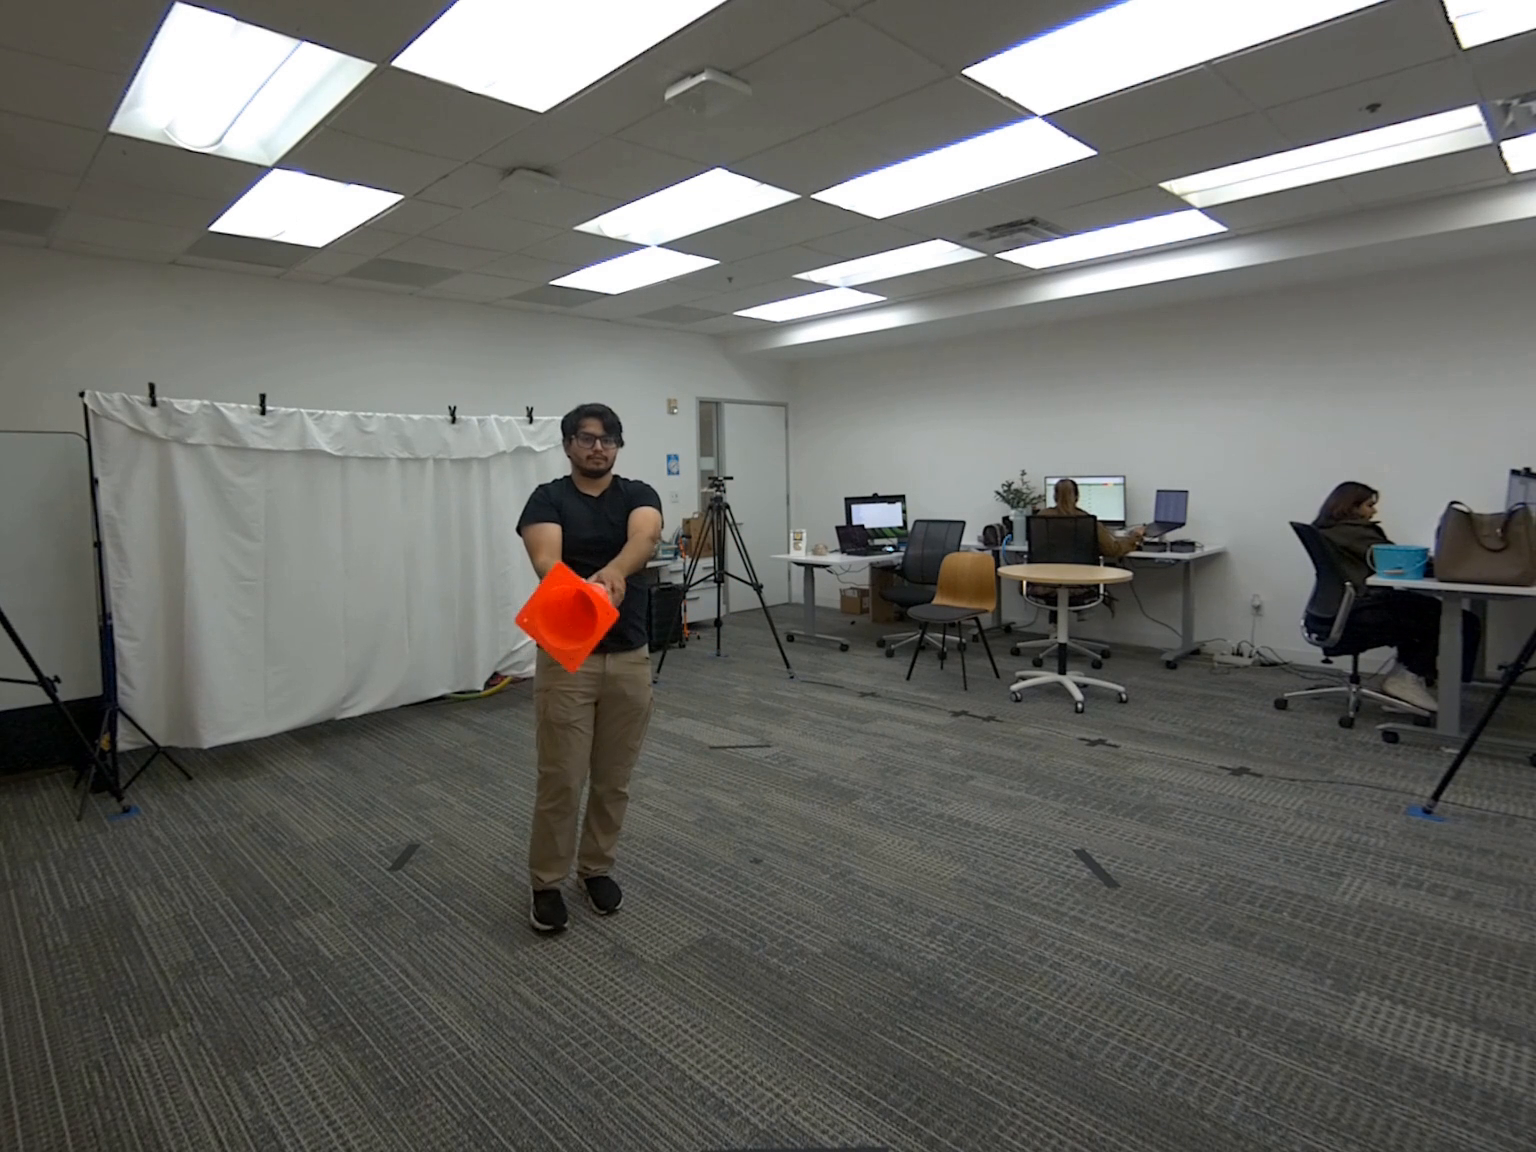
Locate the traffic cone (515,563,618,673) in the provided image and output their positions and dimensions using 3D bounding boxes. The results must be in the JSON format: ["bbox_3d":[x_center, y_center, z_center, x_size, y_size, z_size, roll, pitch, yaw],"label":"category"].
[{"bbox_3d":[-0.444,0.076,2.216,0.203,0.206,0.380,-43,-4,12],"label":"traffic cone"}]
